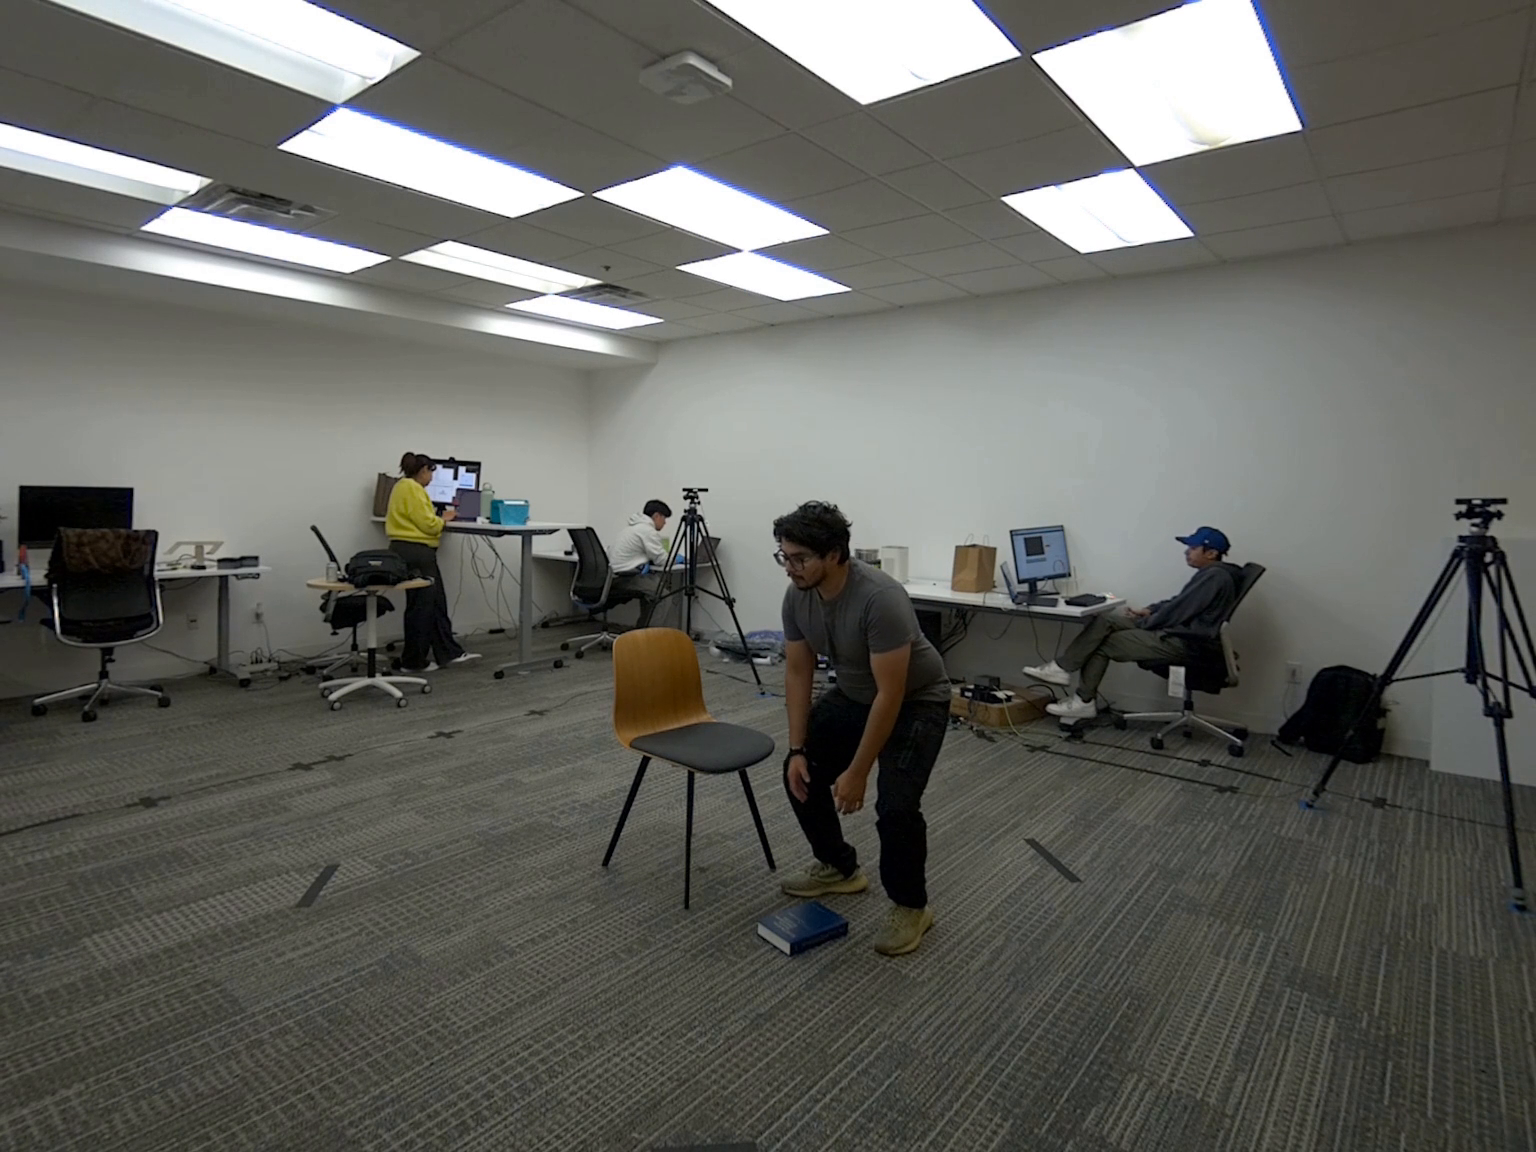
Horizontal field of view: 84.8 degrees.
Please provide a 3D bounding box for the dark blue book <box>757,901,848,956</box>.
[{"bbox_3d":[0.103,1.094,2.669,0.238,0.045,0.169,-3,6,-38],"label":"dark blue book"}]
